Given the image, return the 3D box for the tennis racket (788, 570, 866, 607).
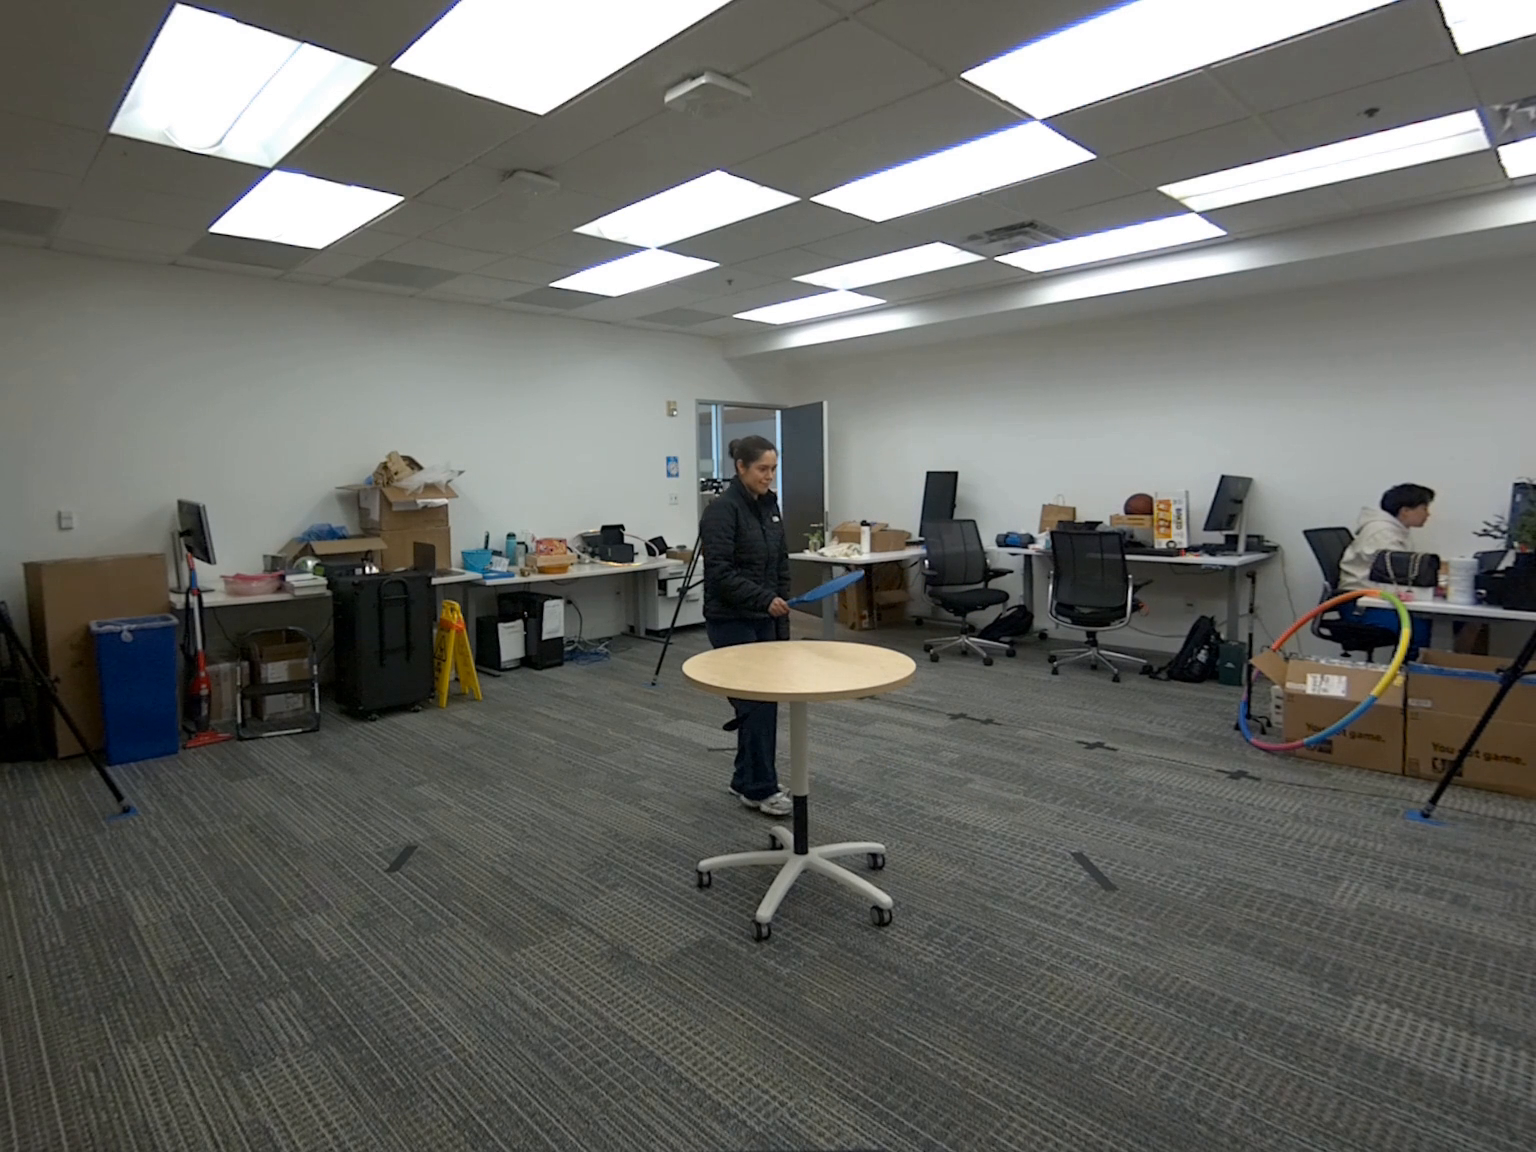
[{"bbox_3d":[0.192,0.068,3.354,0.438,0.031,0.212,-26,8,32],"label":"tennis racket"}]
